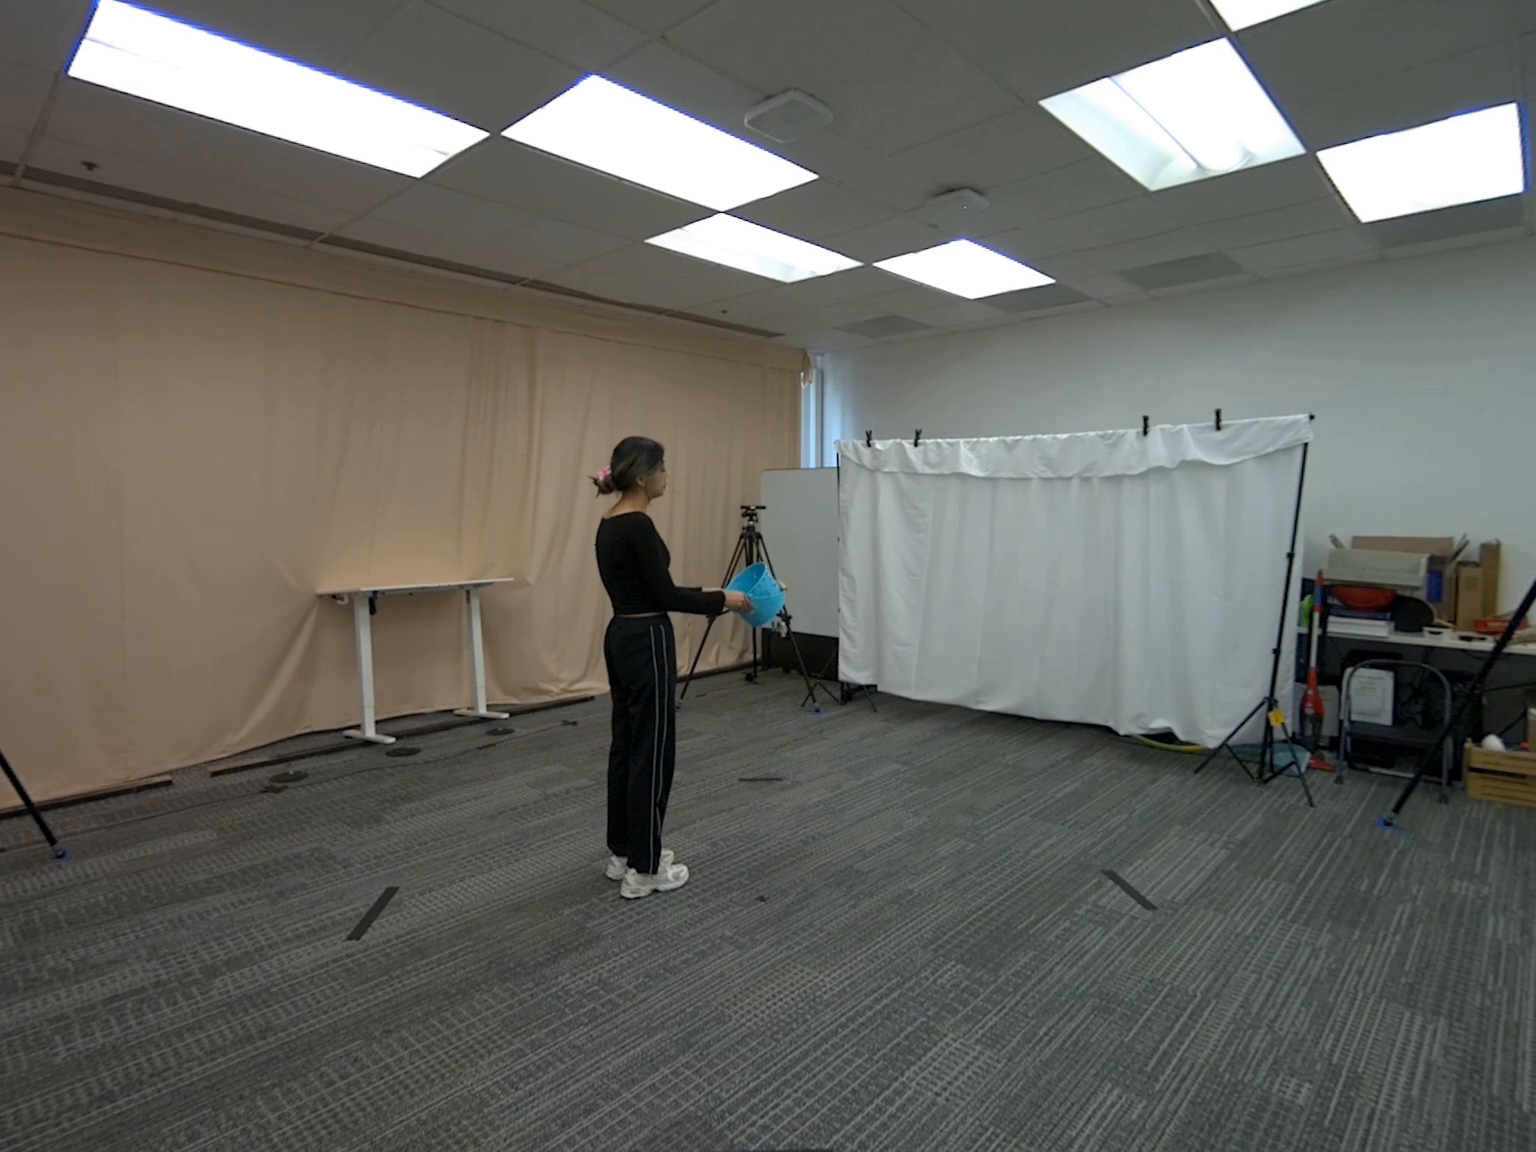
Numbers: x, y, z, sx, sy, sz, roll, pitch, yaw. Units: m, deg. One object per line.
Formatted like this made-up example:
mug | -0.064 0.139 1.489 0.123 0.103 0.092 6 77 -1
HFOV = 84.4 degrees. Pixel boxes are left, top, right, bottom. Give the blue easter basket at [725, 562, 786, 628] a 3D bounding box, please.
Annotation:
blue easter basket | -0.053 0.091 3.290 0.152 0.243 0.250 46 -14 -20
